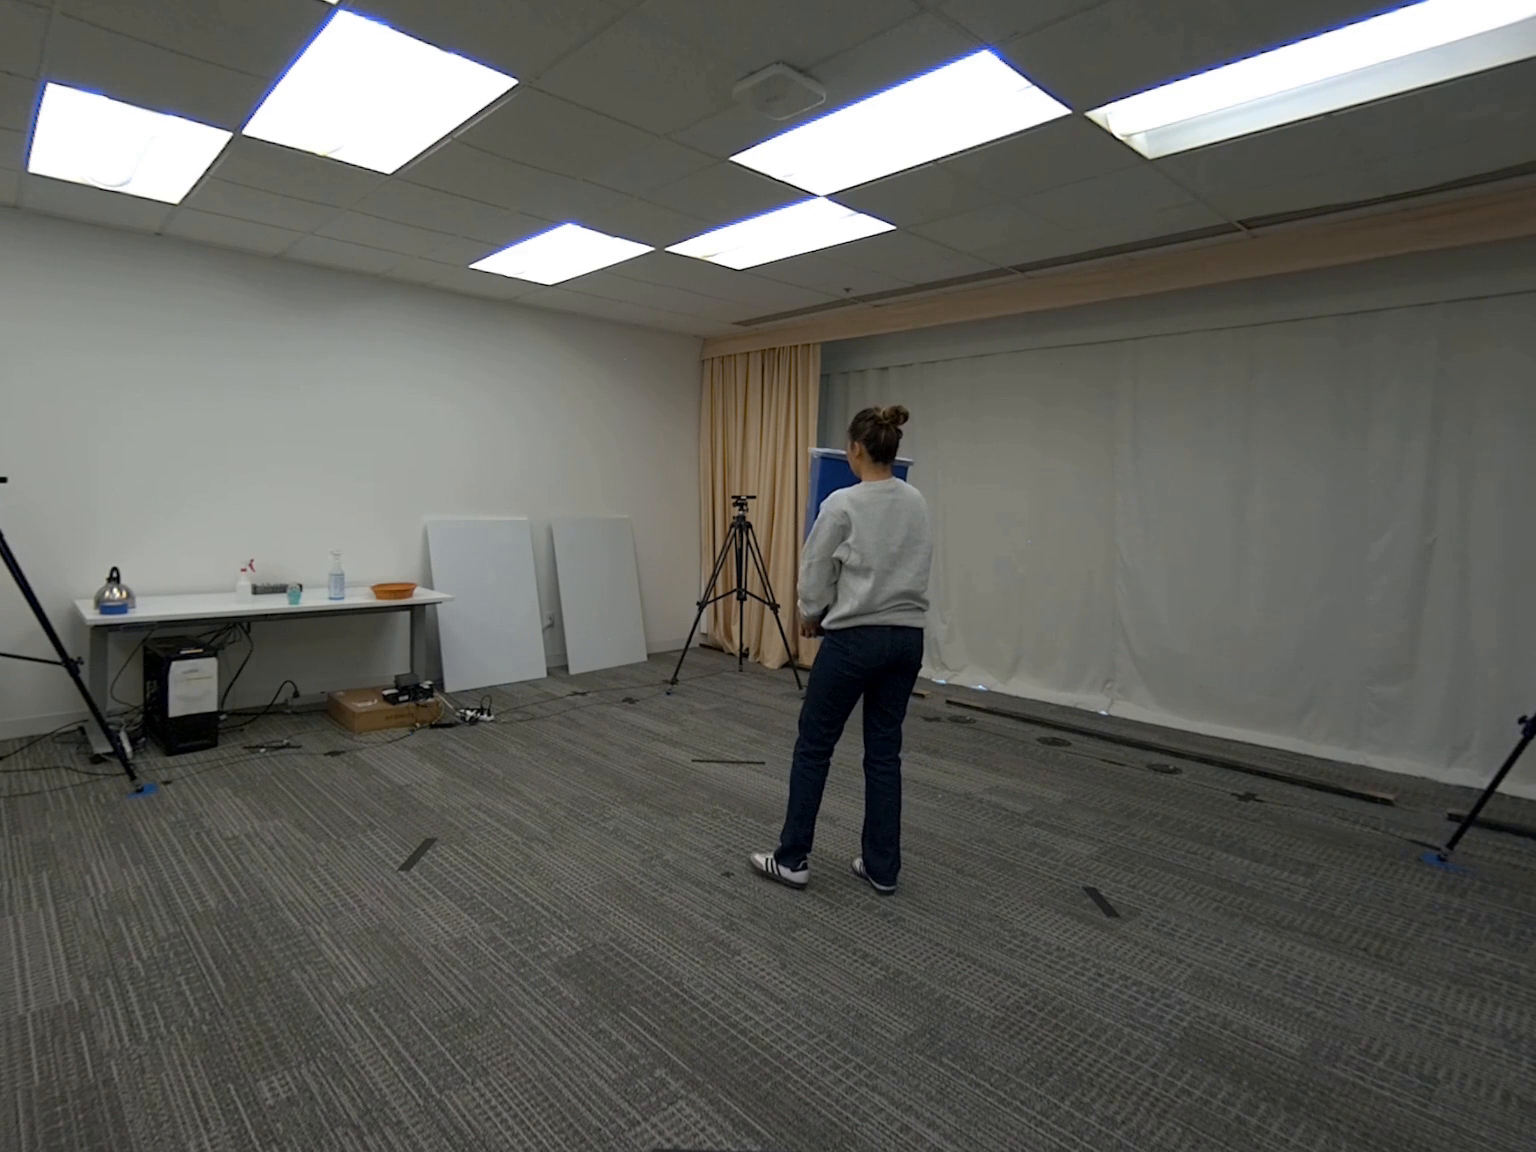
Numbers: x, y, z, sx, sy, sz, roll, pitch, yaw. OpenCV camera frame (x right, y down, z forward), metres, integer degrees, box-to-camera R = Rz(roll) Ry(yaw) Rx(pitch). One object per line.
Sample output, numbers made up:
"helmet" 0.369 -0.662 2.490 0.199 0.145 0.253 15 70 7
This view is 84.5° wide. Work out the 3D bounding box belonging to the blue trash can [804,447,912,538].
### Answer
"blue trash can" 0.316 -0.138 3.341 0.377 0.710 0.376 5 7 -3
